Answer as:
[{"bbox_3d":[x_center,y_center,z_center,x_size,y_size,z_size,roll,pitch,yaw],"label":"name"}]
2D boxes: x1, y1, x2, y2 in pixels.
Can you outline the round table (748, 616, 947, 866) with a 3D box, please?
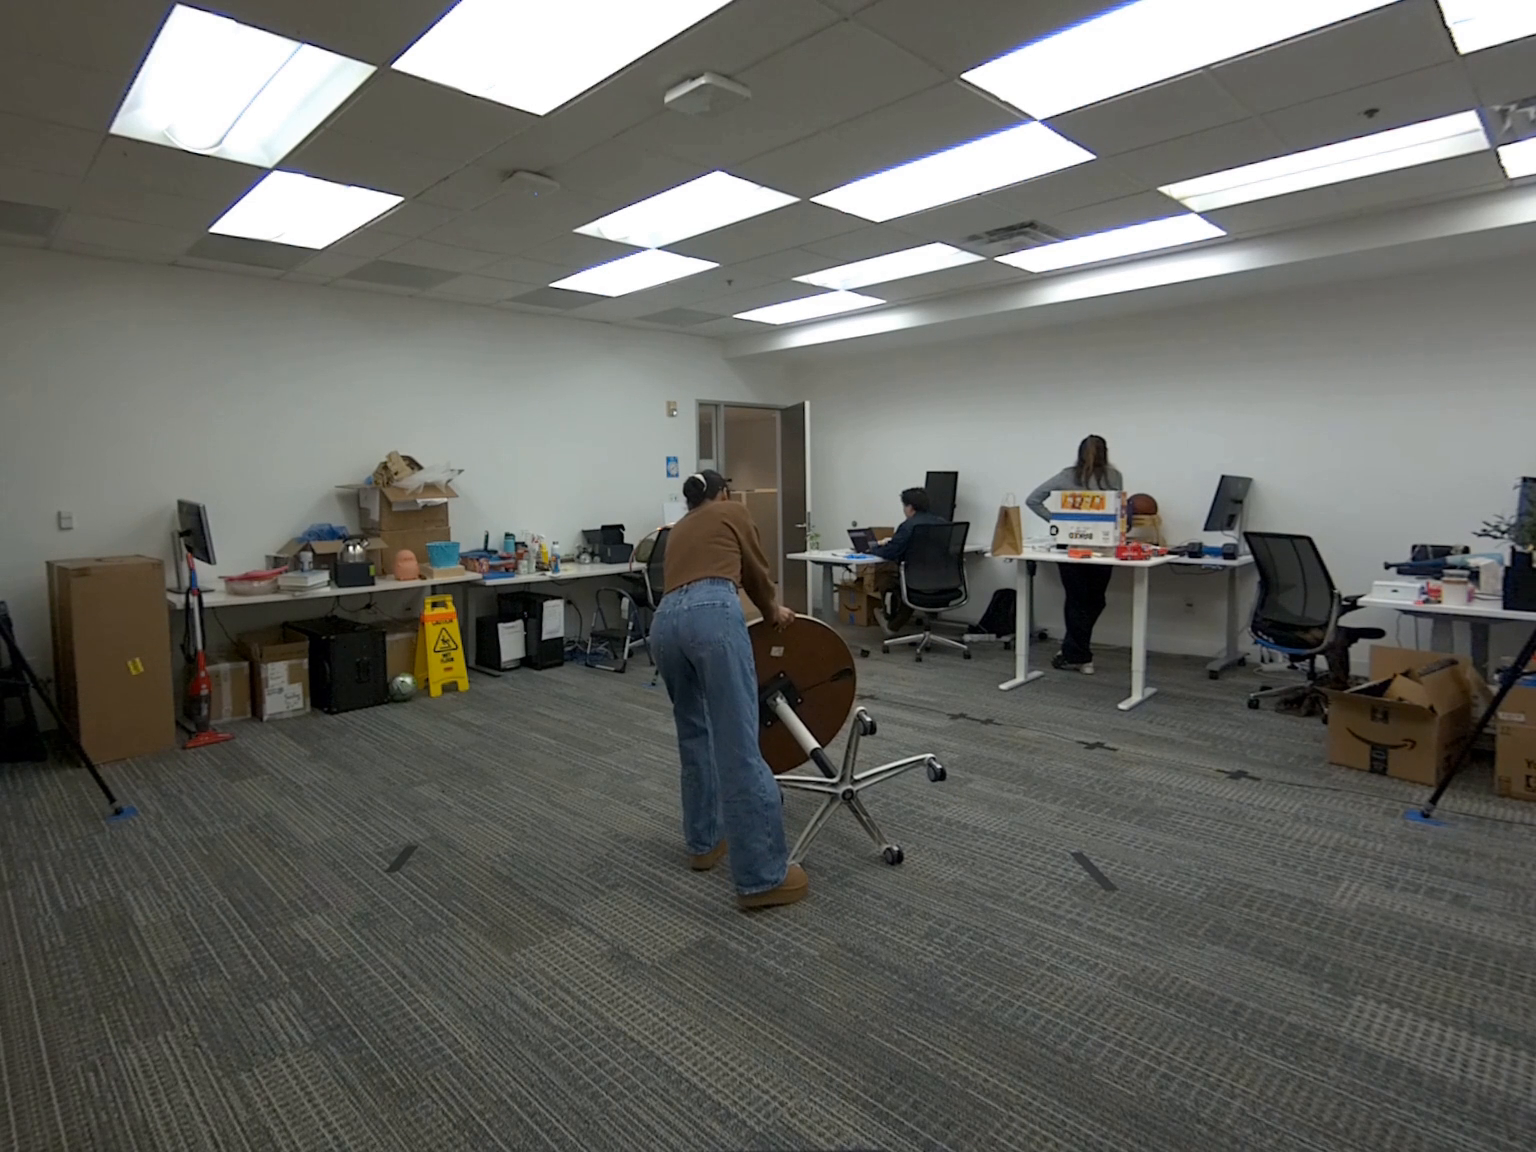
[{"bbox_3d":[0.166,0.649,3.274,0.750,0.752,0.820,-3,21,-21],"label":"round table"}]
